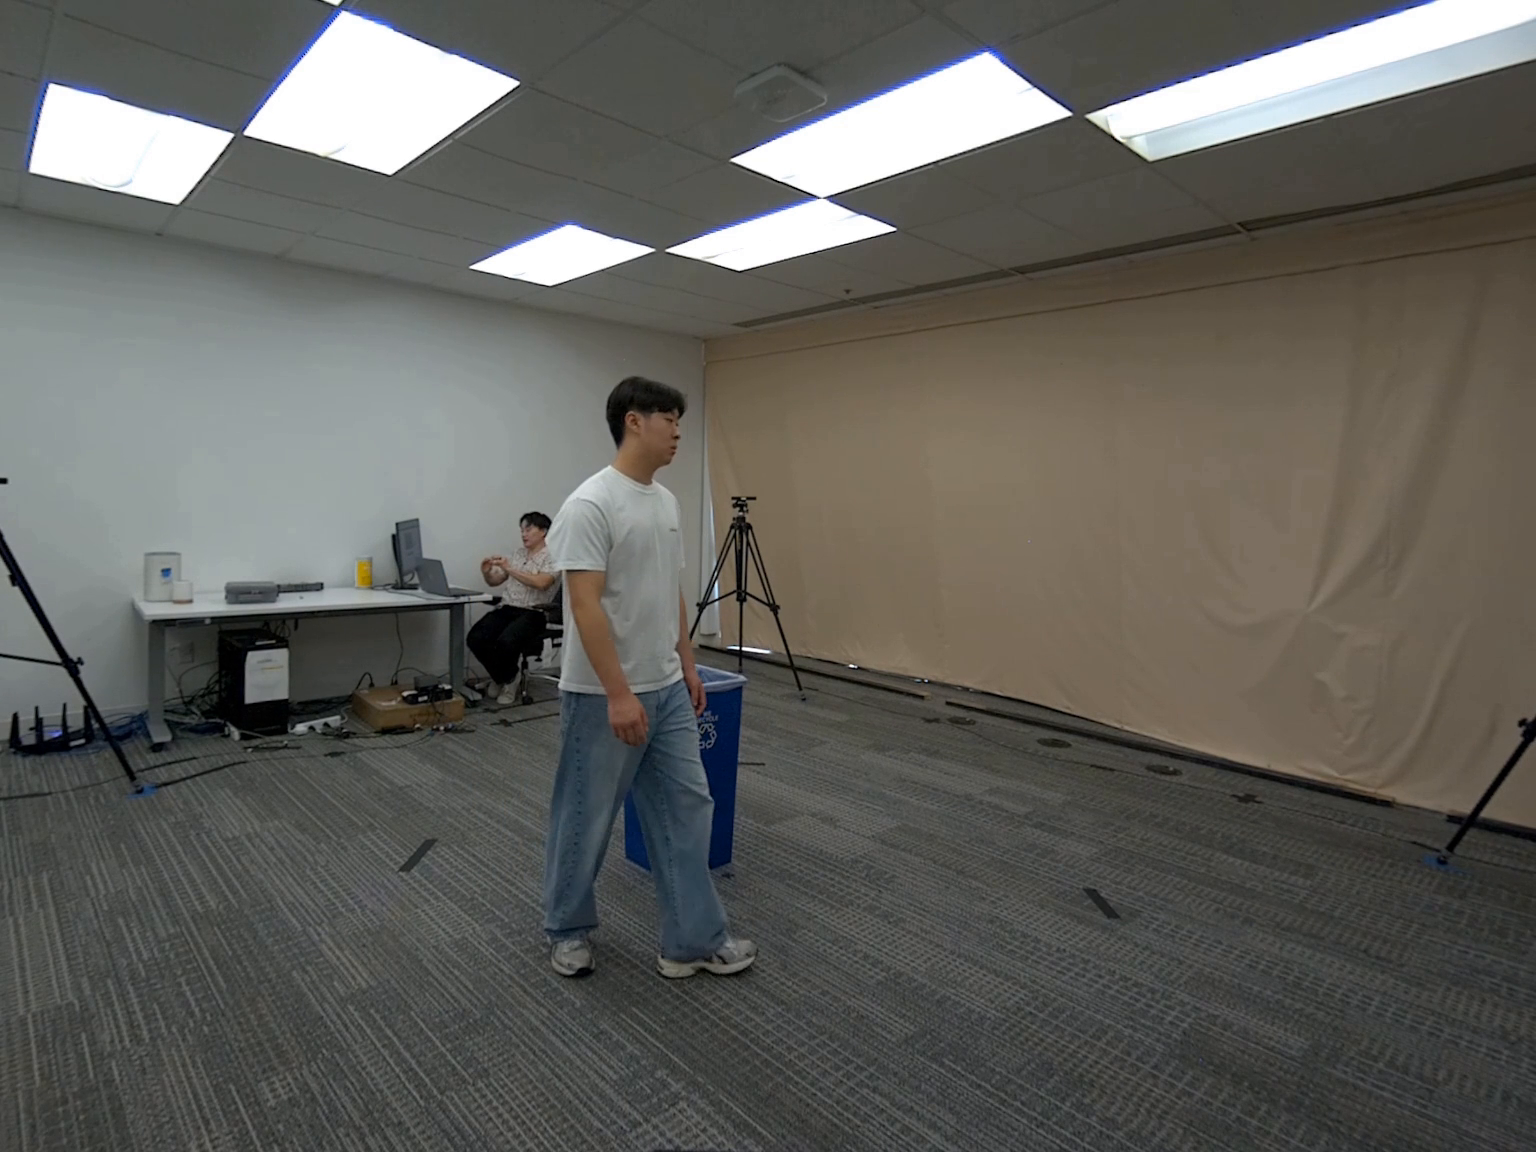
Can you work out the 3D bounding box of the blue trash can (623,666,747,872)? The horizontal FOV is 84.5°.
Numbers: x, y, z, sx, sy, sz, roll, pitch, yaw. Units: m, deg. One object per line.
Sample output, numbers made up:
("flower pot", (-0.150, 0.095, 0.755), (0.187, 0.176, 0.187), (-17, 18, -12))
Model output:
("blue trash can", (-0.337, 0.733, 3.227), (0.365, 0.712, 0.388), (-2, 5, -43))
